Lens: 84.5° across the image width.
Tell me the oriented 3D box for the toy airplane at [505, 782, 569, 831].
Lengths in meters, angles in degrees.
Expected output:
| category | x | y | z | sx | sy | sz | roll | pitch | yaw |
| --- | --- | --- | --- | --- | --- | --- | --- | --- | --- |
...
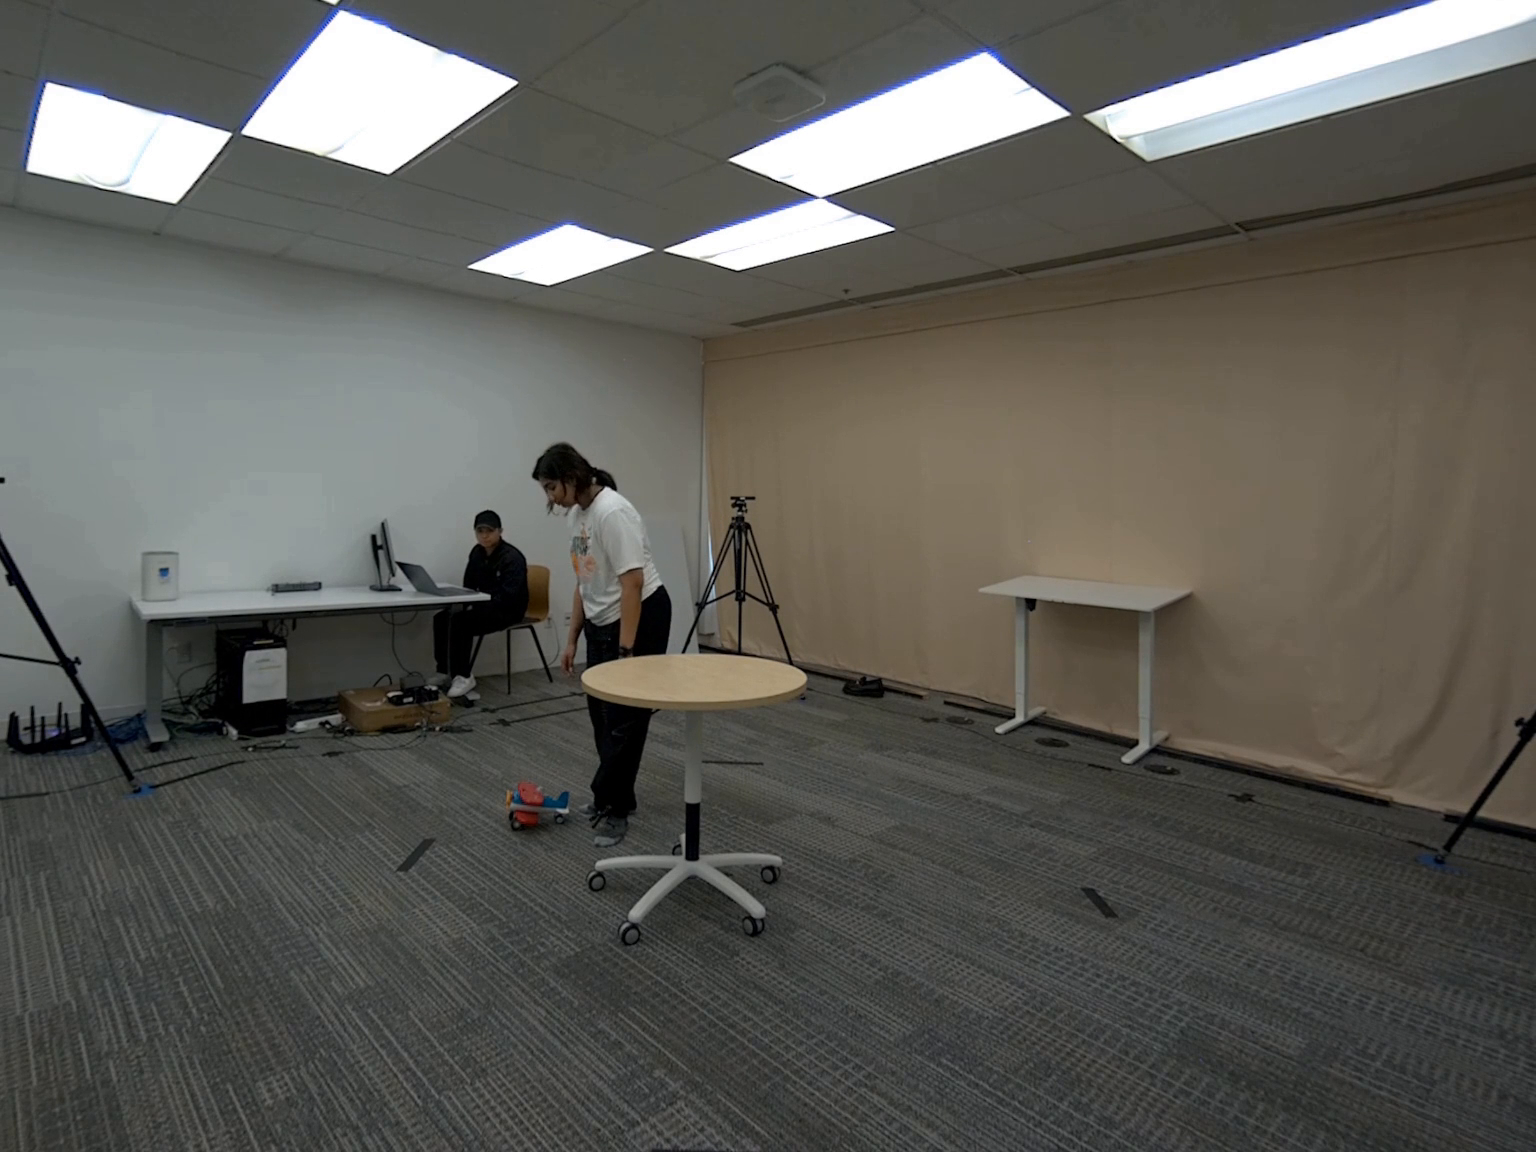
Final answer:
| category | x | y | z | sx | sy | sz | roll | pitch | yaw |
| --- | --- | --- | --- | --- | --- | --- | --- | --- | --- |
| toy airplane | -0.987 | 0.966 | 3.557 | 0.257 | 0.156 | 0.253 | 4 | 7 | 42 |
